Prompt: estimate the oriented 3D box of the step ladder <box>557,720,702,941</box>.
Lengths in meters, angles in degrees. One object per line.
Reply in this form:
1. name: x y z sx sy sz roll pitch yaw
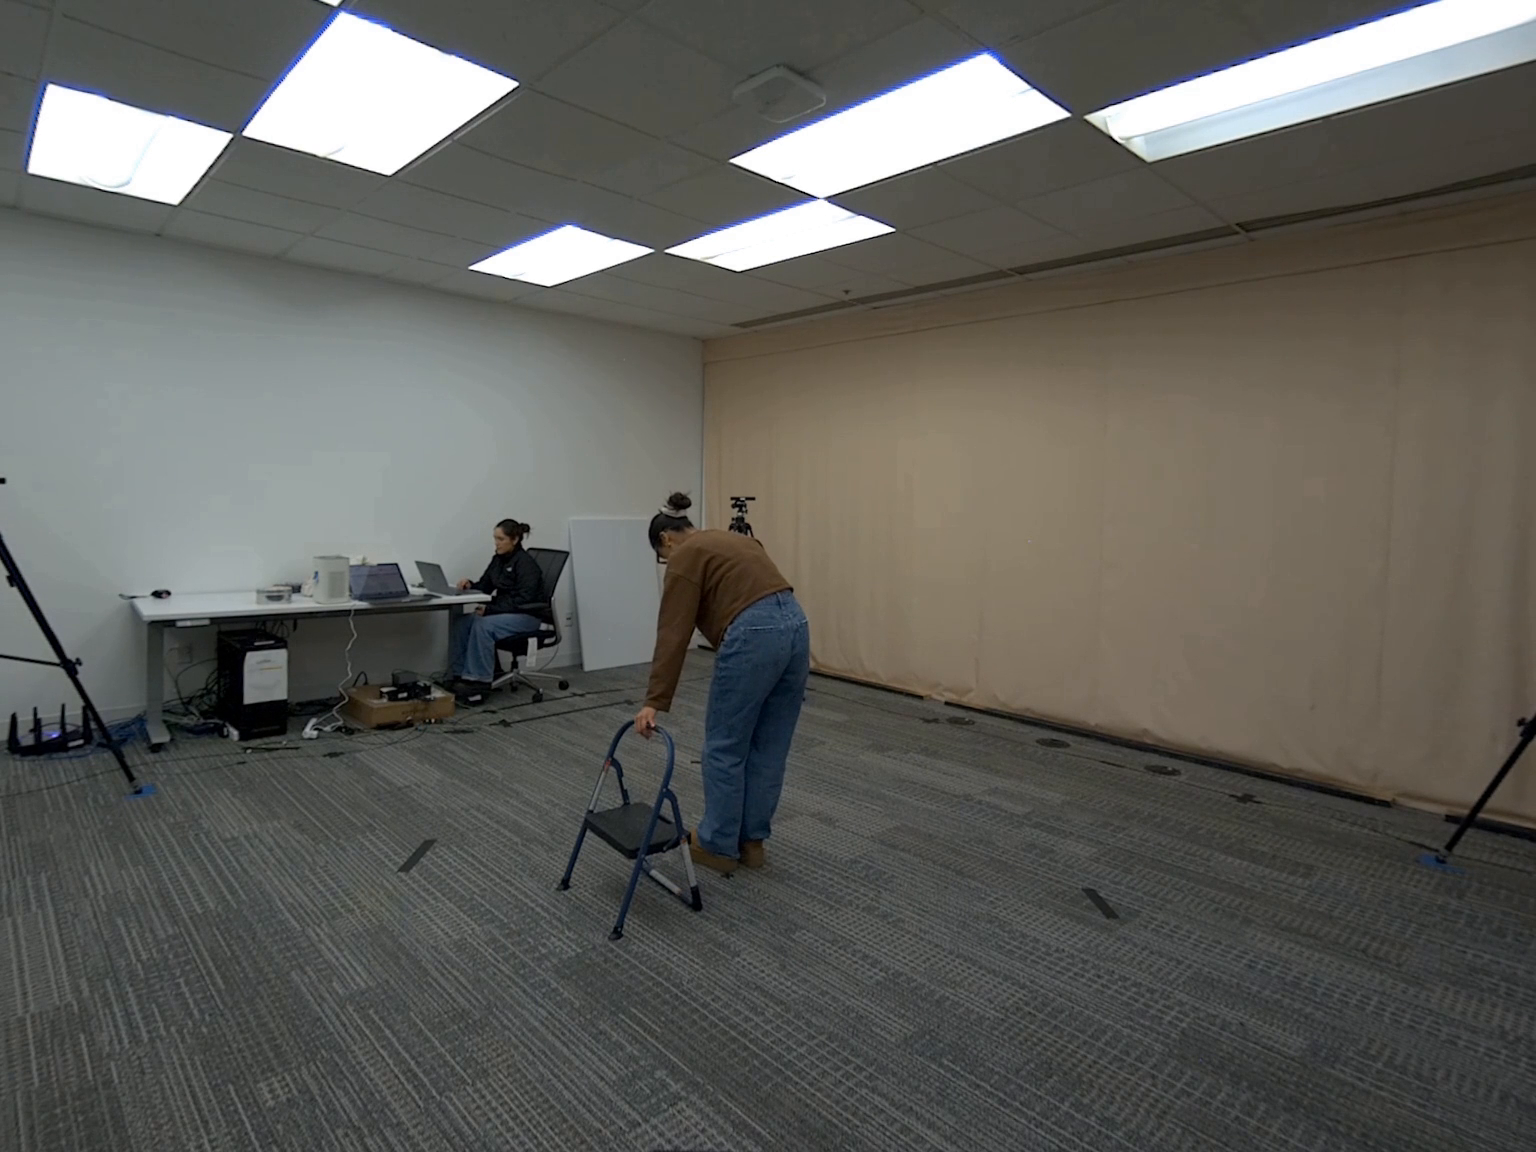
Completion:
1. step ladder: -0.475 0.816 2.884 0.341 0.605 0.441 -1 4 -37
